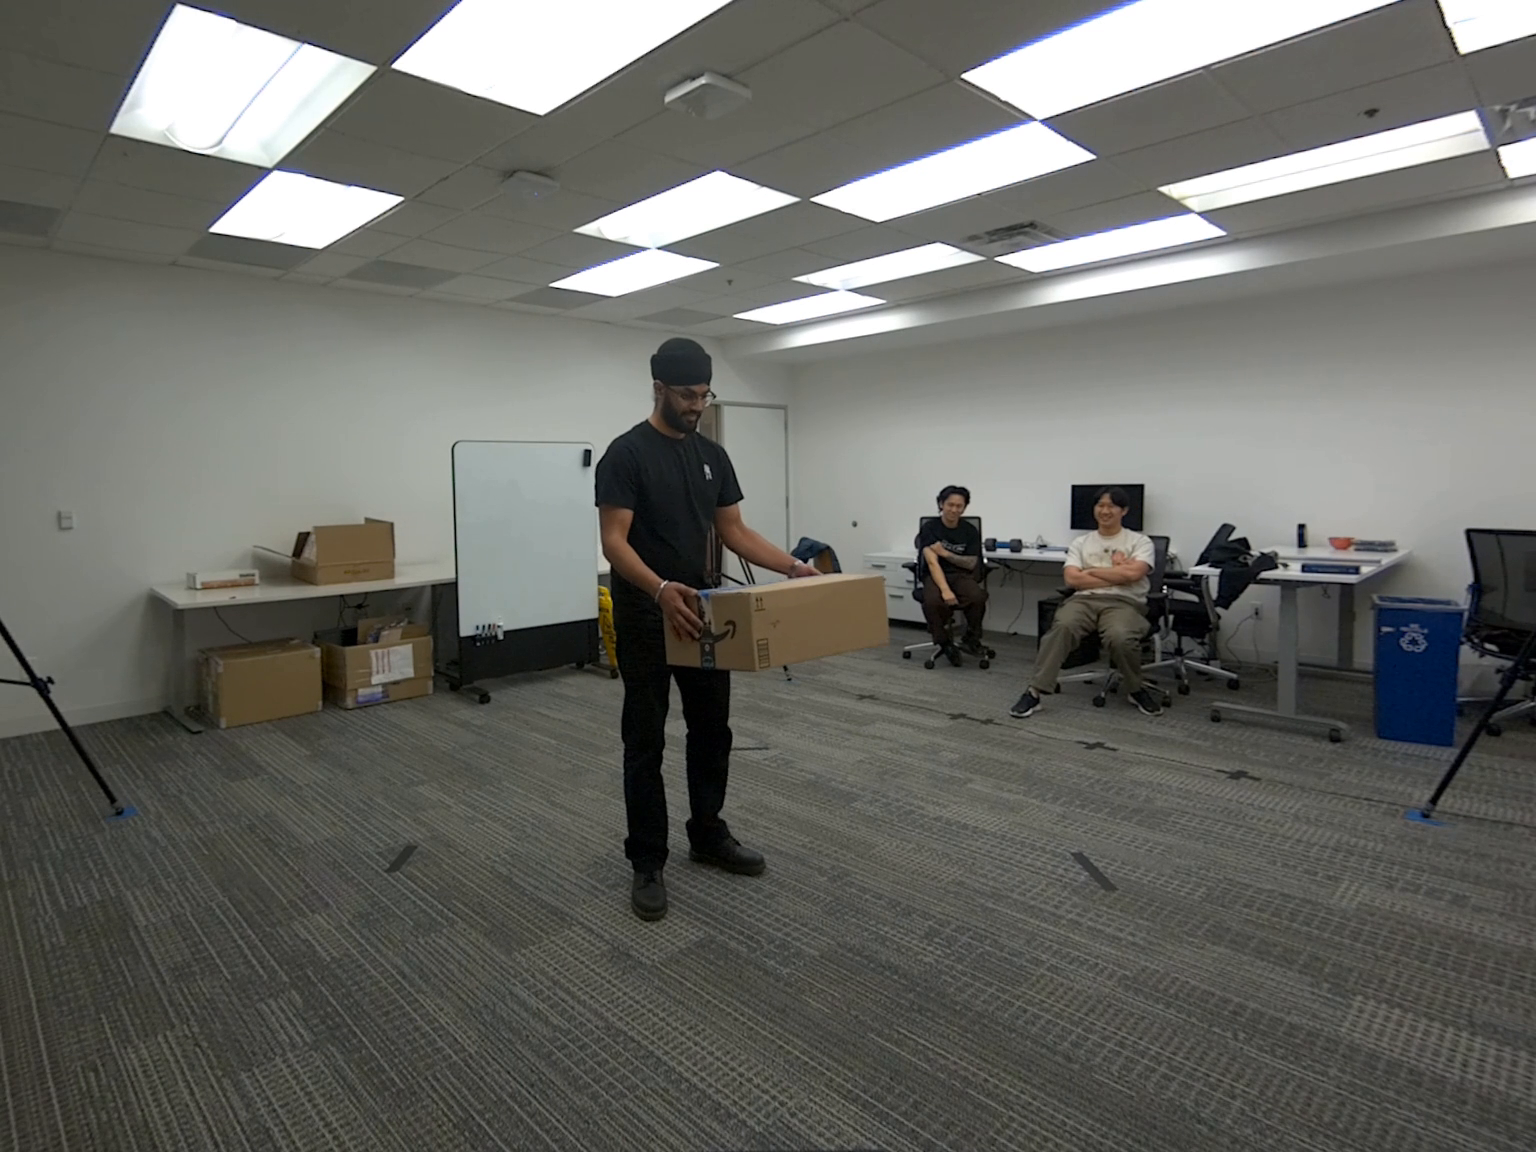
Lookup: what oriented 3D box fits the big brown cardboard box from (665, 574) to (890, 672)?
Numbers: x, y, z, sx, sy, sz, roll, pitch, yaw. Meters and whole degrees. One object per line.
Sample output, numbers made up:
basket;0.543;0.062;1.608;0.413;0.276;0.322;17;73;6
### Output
big brown cardboard box;0.027;0.137;2.629;0.574;0.233;0.428;-8;2;-42
